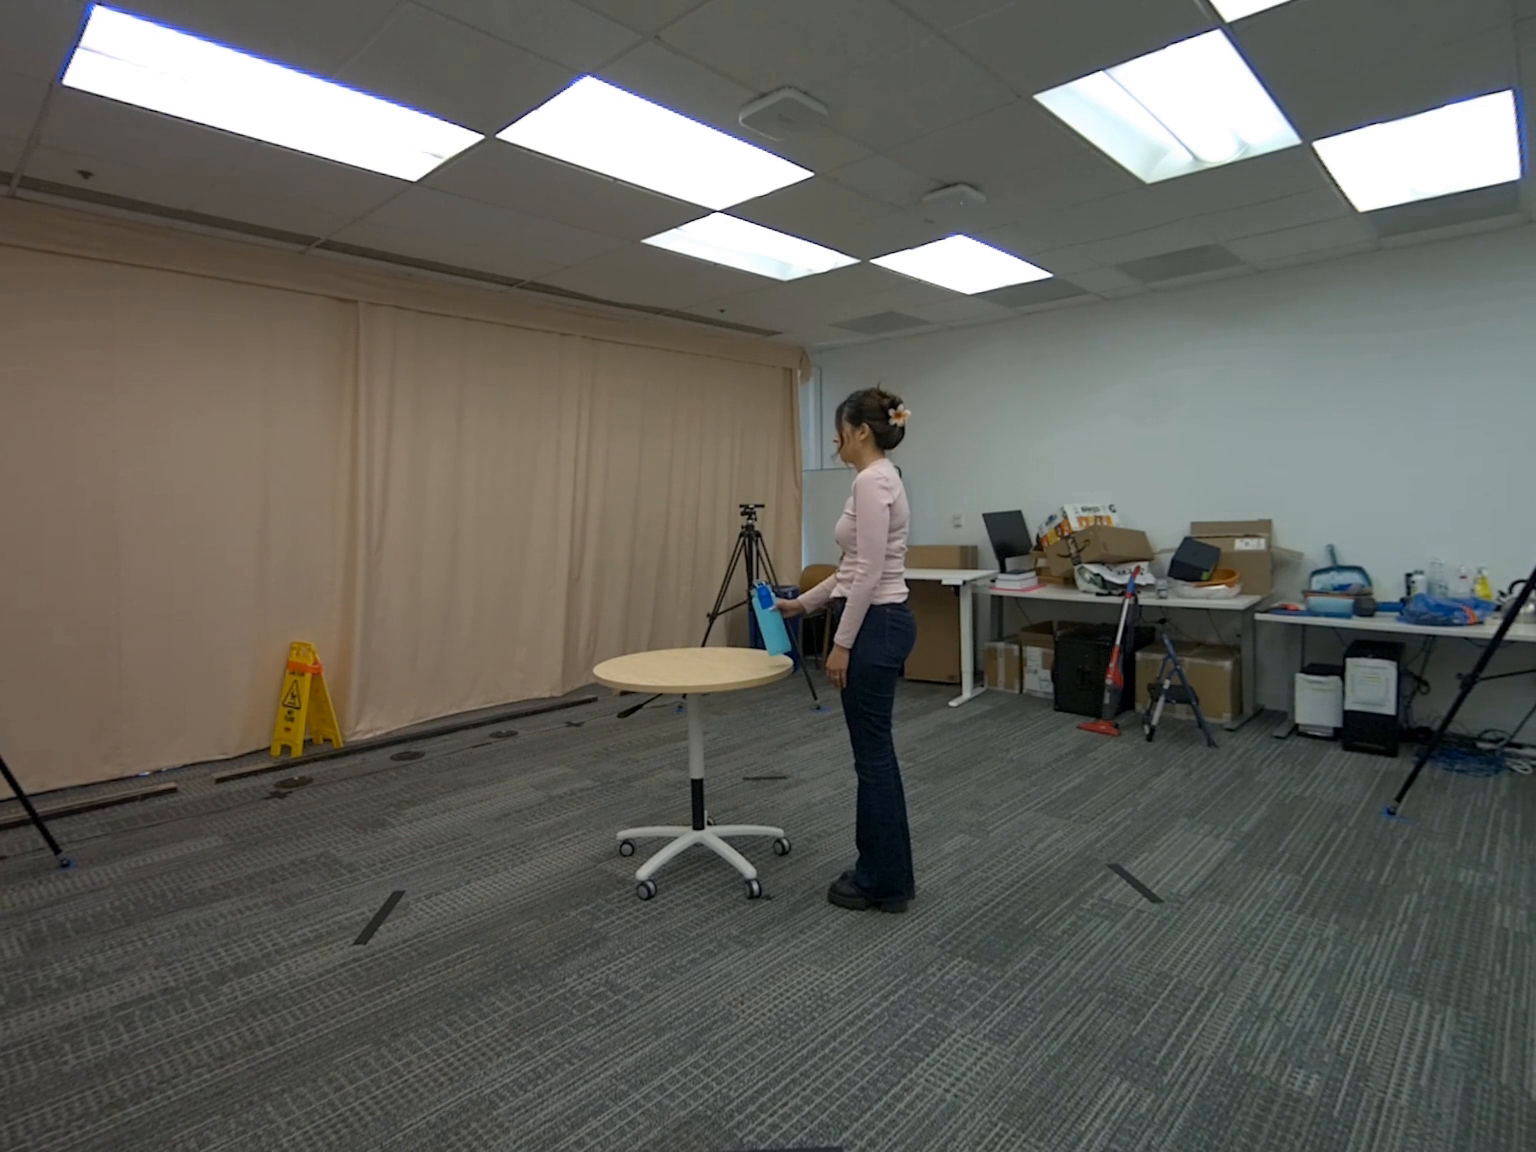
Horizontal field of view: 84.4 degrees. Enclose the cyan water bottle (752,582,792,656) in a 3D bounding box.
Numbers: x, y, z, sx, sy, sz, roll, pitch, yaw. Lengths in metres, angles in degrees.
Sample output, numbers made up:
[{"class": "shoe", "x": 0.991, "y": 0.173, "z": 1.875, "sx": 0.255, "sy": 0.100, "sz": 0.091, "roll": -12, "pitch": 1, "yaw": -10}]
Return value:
[{"class": "cyan water bottle", "x": -0.003, "y": 0.120, "z": 3.130, "sx": 0.092, "sy": 0.283, "sz": 0.092, "roll": -13, "pitch": 0, "yaw": -2}]
